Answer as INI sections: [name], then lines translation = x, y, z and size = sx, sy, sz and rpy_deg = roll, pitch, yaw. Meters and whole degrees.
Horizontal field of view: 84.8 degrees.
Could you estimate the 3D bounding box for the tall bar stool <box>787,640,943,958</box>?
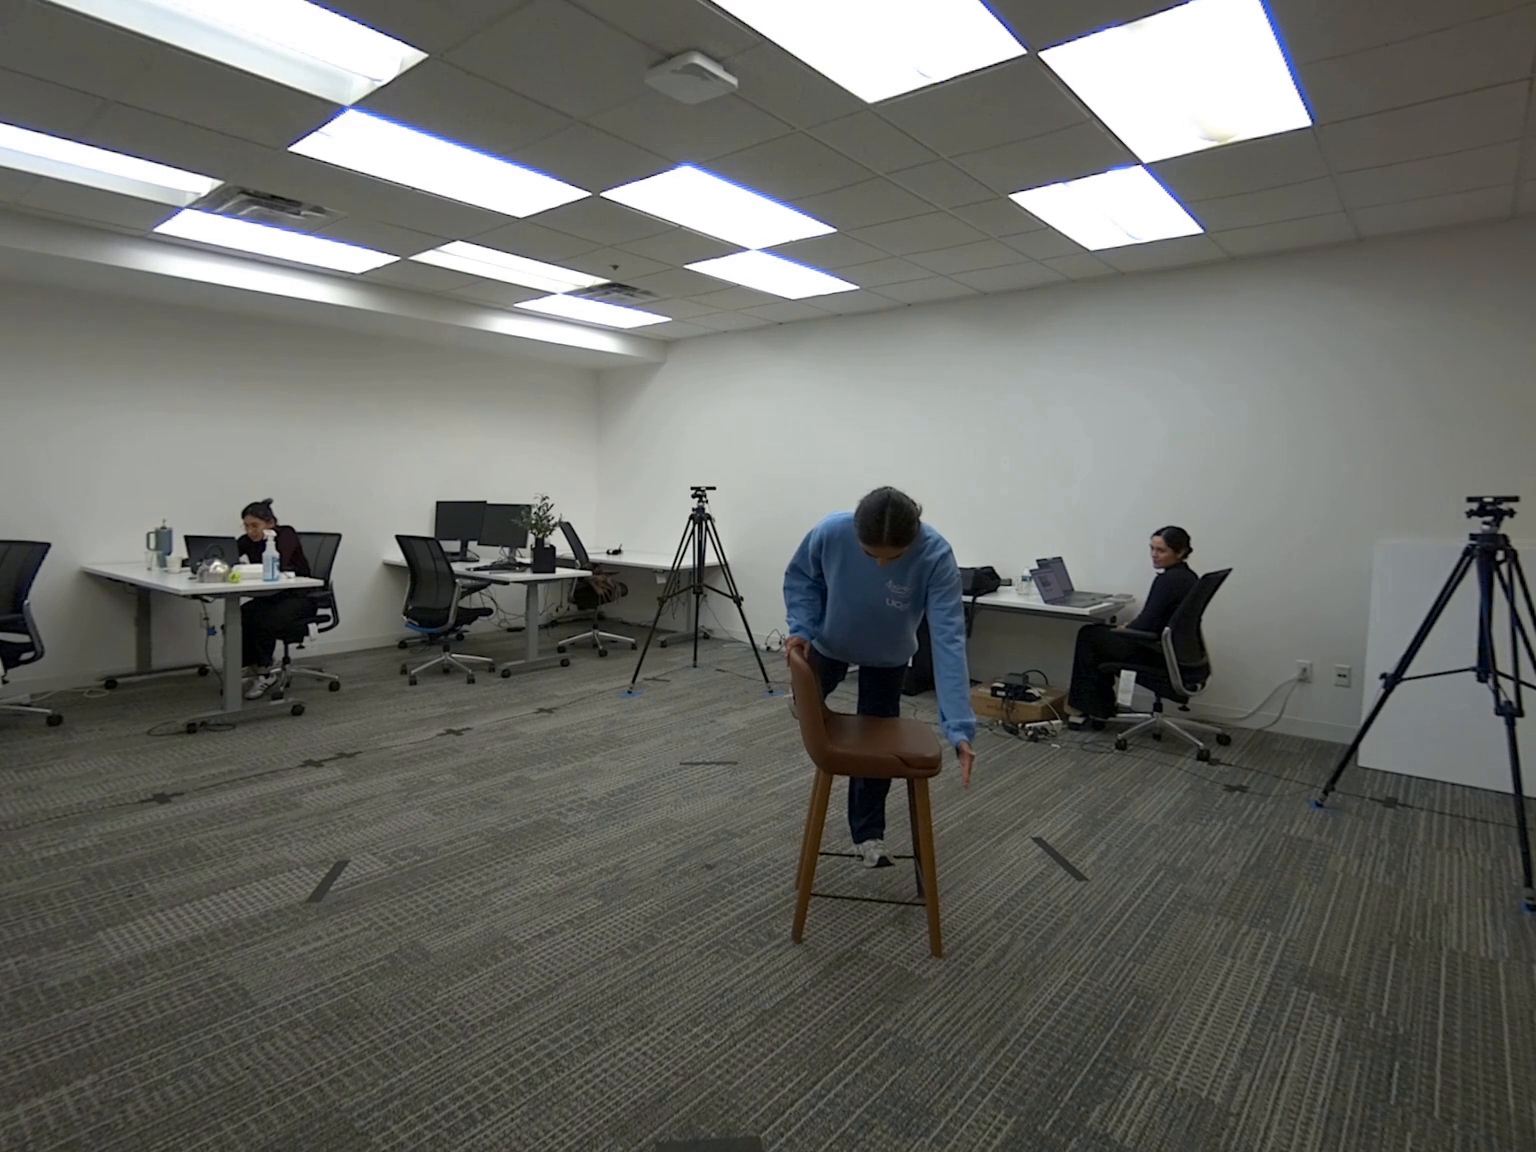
[tall bar stool]
translation = 0.311, 0.675, 2.745
size = 0.471, 0.888, 0.454
rpy_deg = 0, 3, 6
